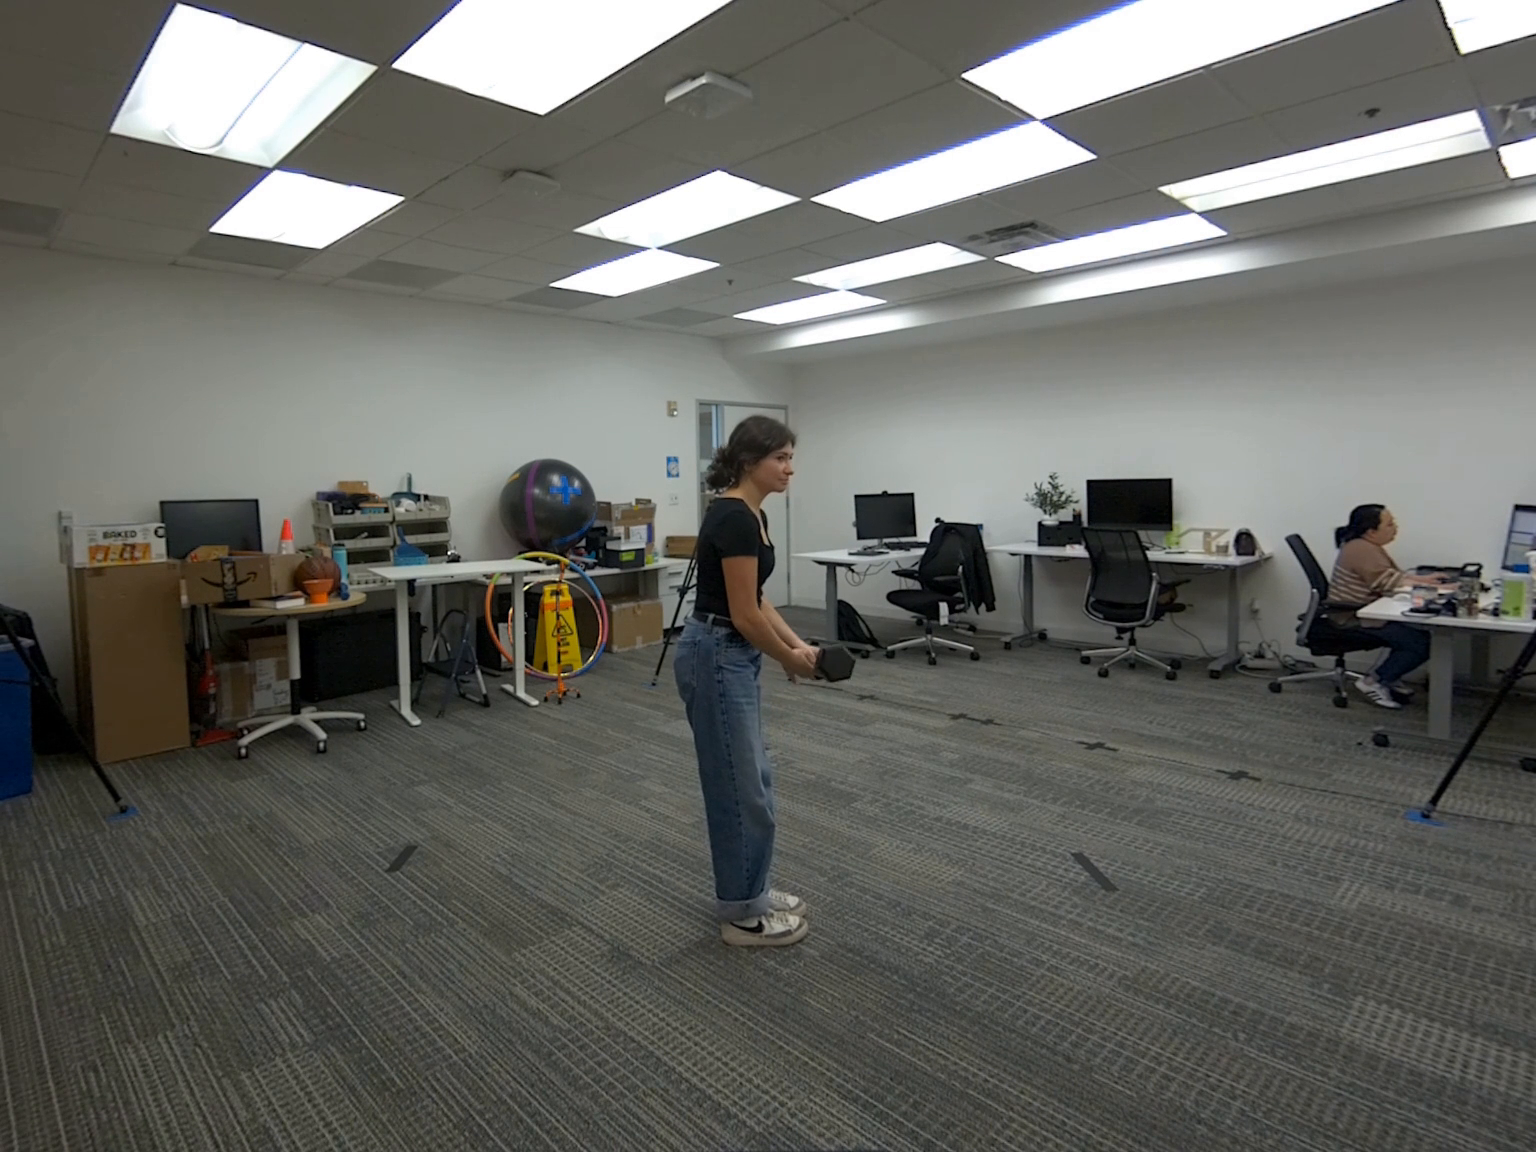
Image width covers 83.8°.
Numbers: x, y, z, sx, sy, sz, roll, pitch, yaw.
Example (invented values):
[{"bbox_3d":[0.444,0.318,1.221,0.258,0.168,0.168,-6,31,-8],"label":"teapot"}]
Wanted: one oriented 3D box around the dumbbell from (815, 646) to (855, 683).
[{"bbox_3d":[0.194,0.268,2.702,0.108,0.123,0.294,-40,1,-9],"label":"dumbbell"}]
